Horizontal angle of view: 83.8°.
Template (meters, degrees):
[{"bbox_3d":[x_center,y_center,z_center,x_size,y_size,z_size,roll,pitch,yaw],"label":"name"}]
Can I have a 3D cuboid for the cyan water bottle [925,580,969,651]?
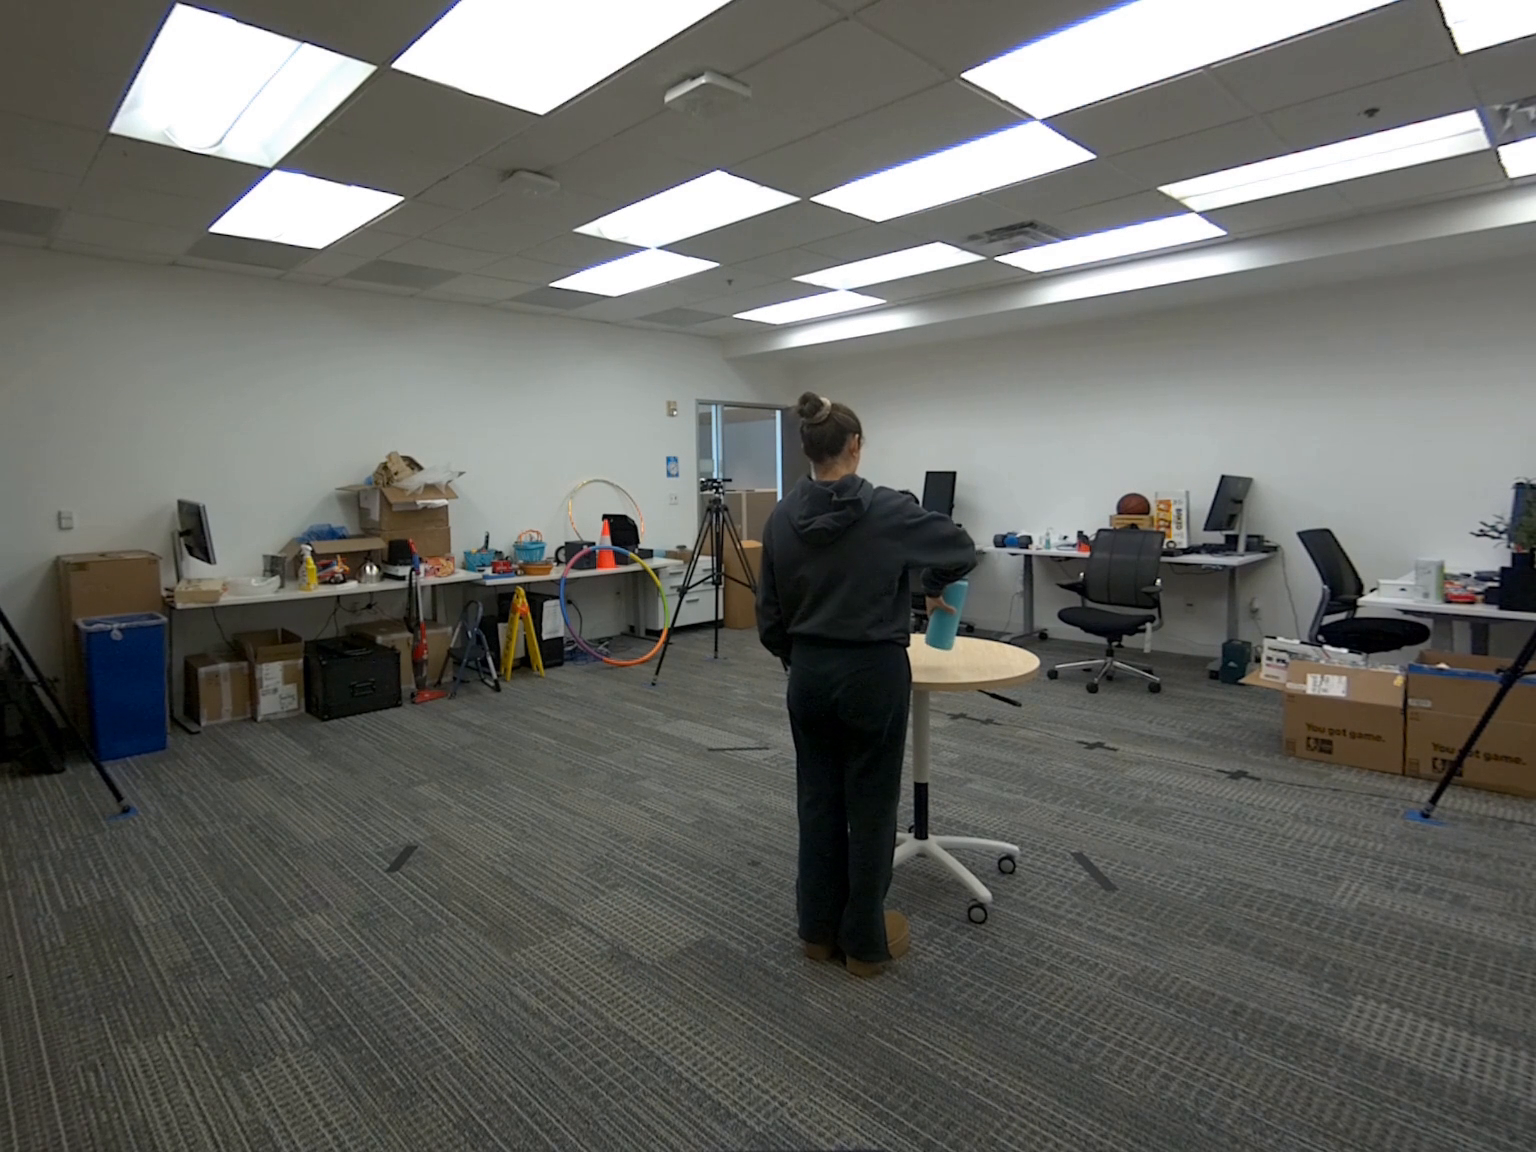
[{"bbox_3d":[0.580,0.085,2.689,0.092,0.282,0.093,9,8,-3],"label":"cyan water bottle"}]
